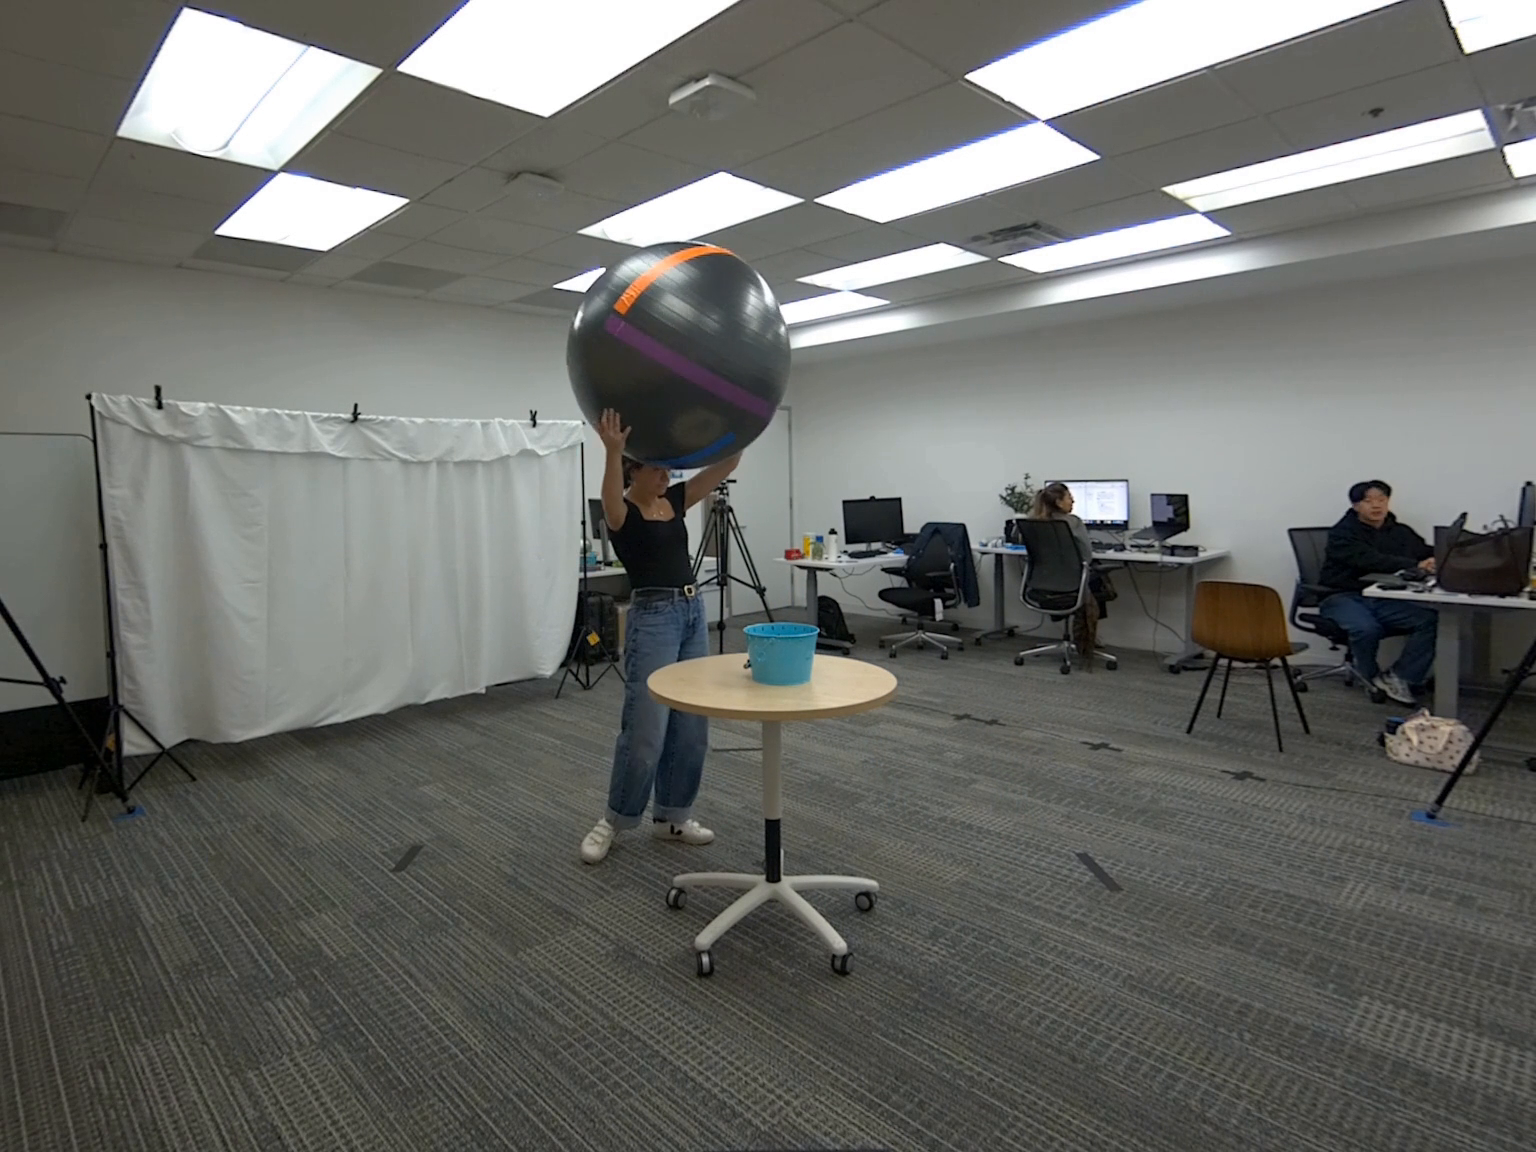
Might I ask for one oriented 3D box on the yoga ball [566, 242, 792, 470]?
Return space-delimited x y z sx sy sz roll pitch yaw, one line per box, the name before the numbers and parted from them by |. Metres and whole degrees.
yoga ball | -0.304 -0.731 2.901 0.757 0.755 0.762 -1 5 -2
